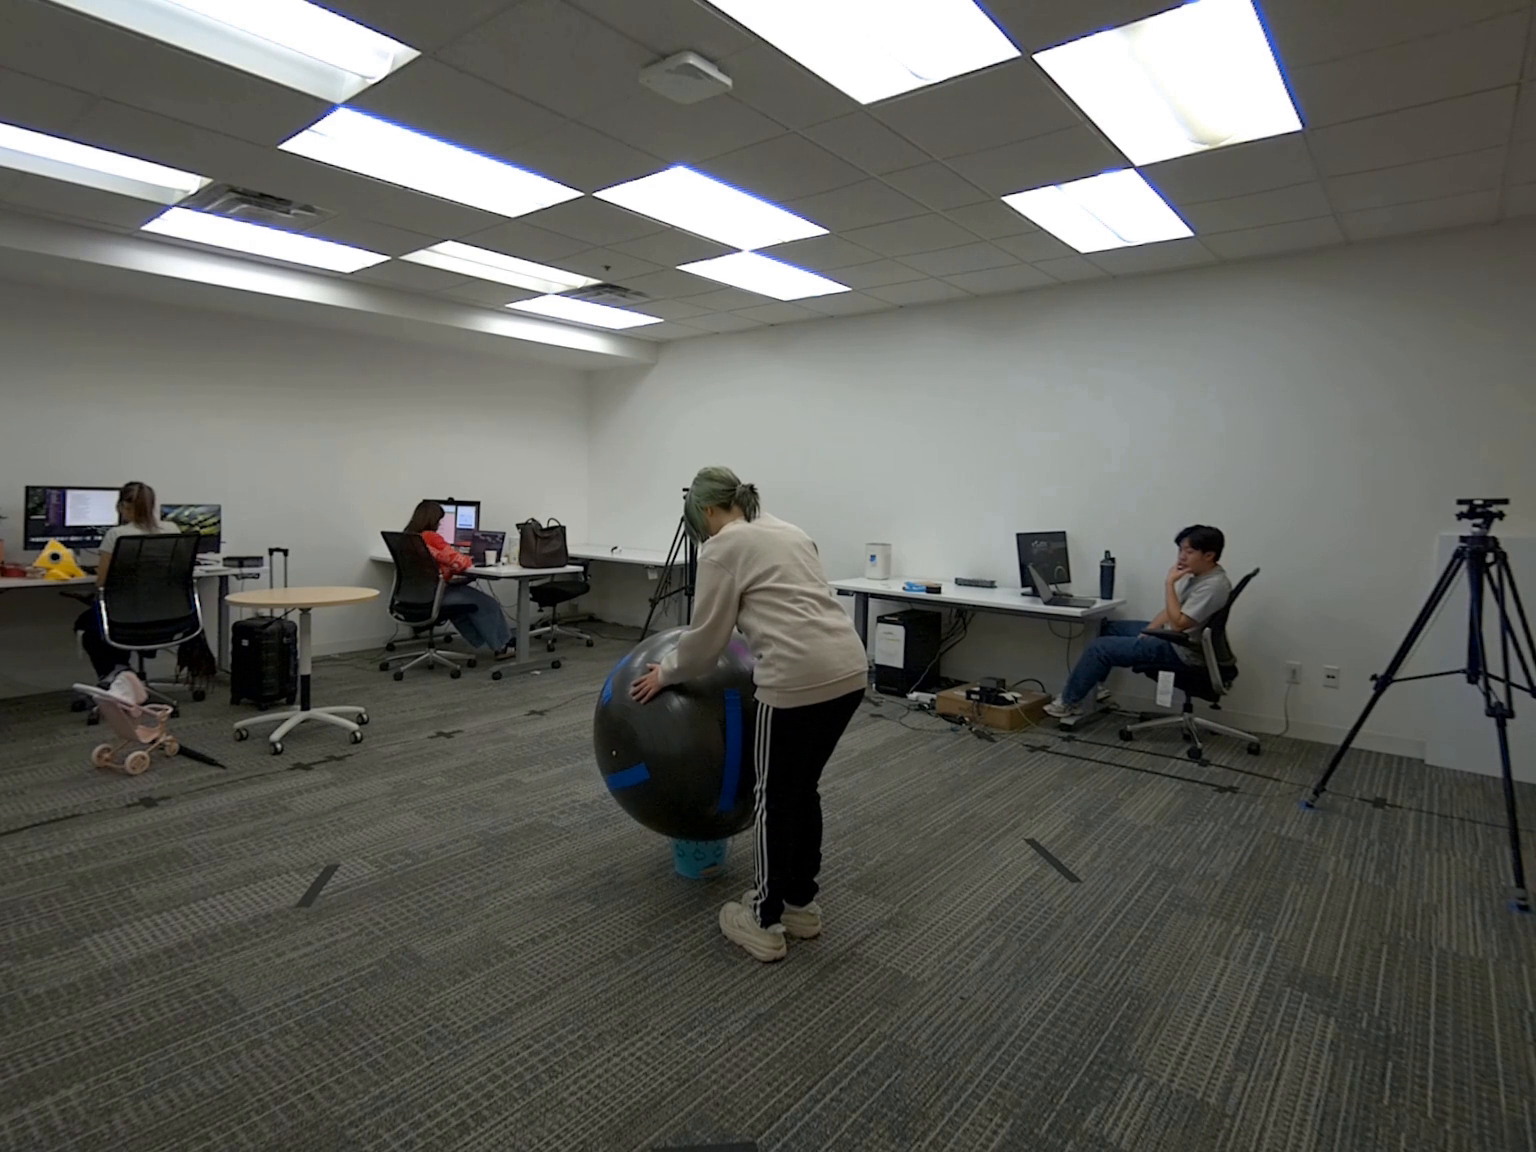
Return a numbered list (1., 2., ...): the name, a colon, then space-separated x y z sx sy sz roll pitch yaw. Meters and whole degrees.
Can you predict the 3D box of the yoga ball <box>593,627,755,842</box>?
1. yoga ball: -0.261 0.562 3.078 0.757 0.755 0.762 1 4 -2
